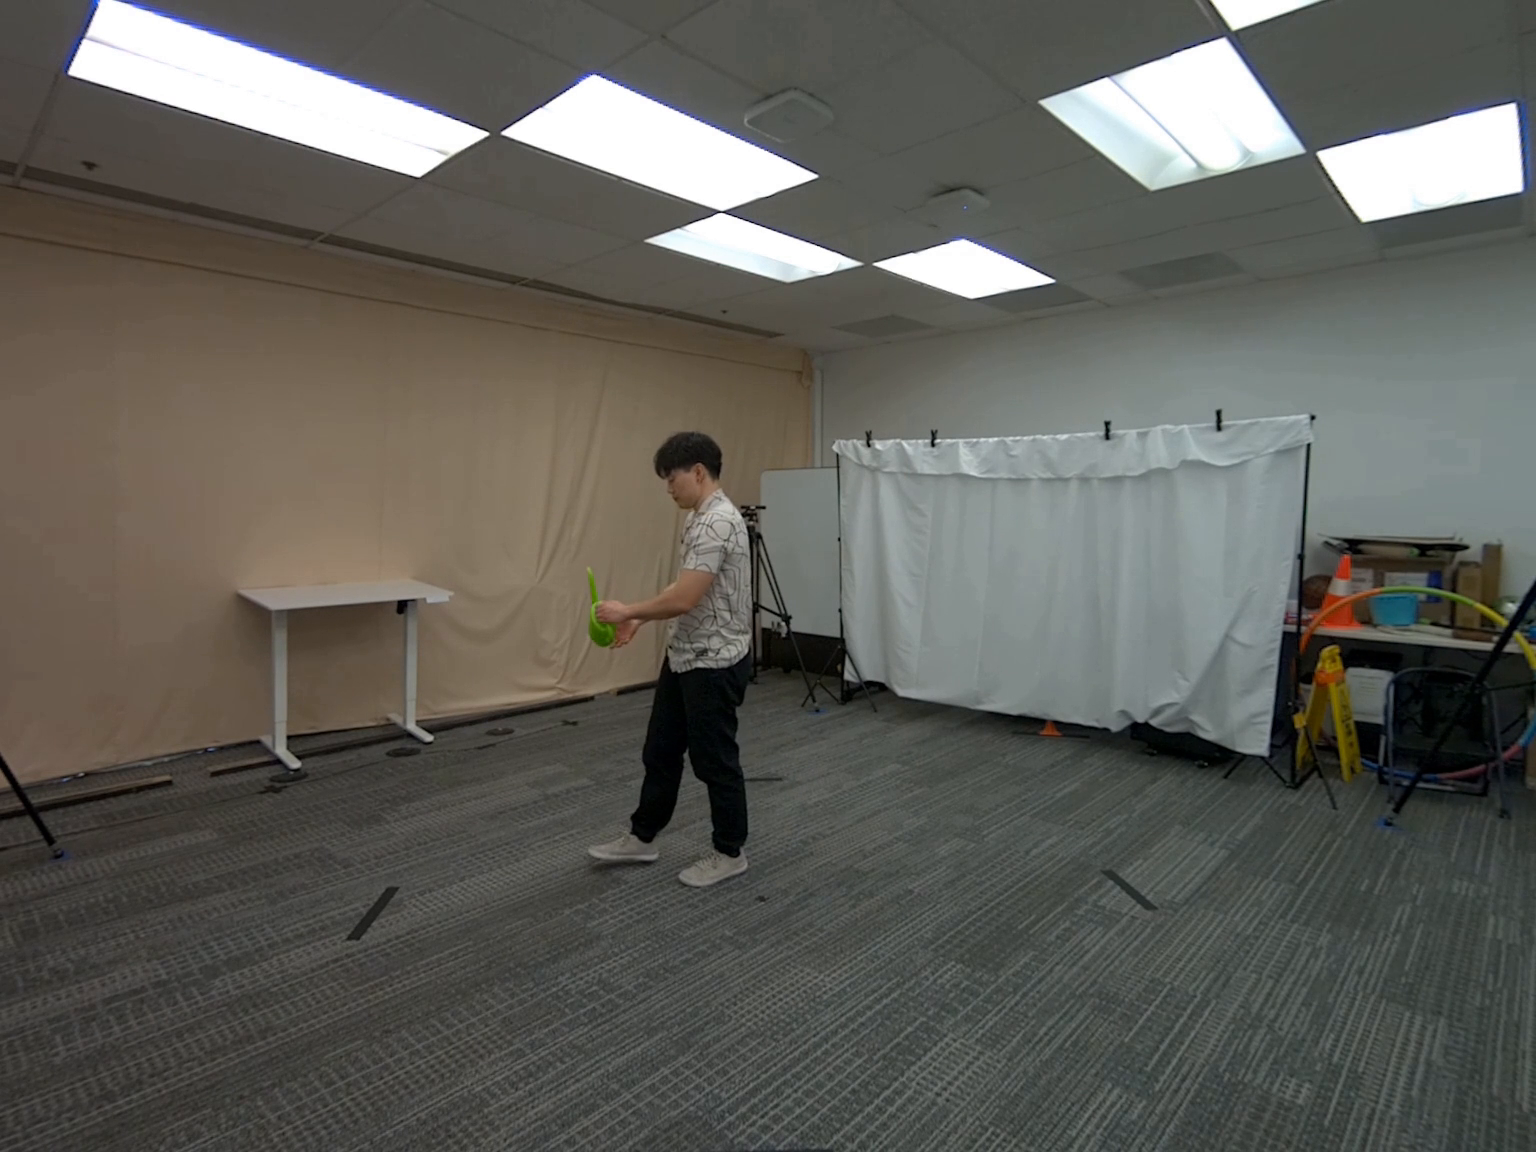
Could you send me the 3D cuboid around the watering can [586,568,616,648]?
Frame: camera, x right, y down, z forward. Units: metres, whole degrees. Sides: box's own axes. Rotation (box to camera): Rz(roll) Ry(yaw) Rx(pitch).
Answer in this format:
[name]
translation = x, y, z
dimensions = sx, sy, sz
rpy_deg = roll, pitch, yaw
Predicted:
[watering can]
translation = -0.613, 0.134, 3.099
dimensions = 0.096, 0.284, 0.176
rpy_deg = -4, -28, -19
